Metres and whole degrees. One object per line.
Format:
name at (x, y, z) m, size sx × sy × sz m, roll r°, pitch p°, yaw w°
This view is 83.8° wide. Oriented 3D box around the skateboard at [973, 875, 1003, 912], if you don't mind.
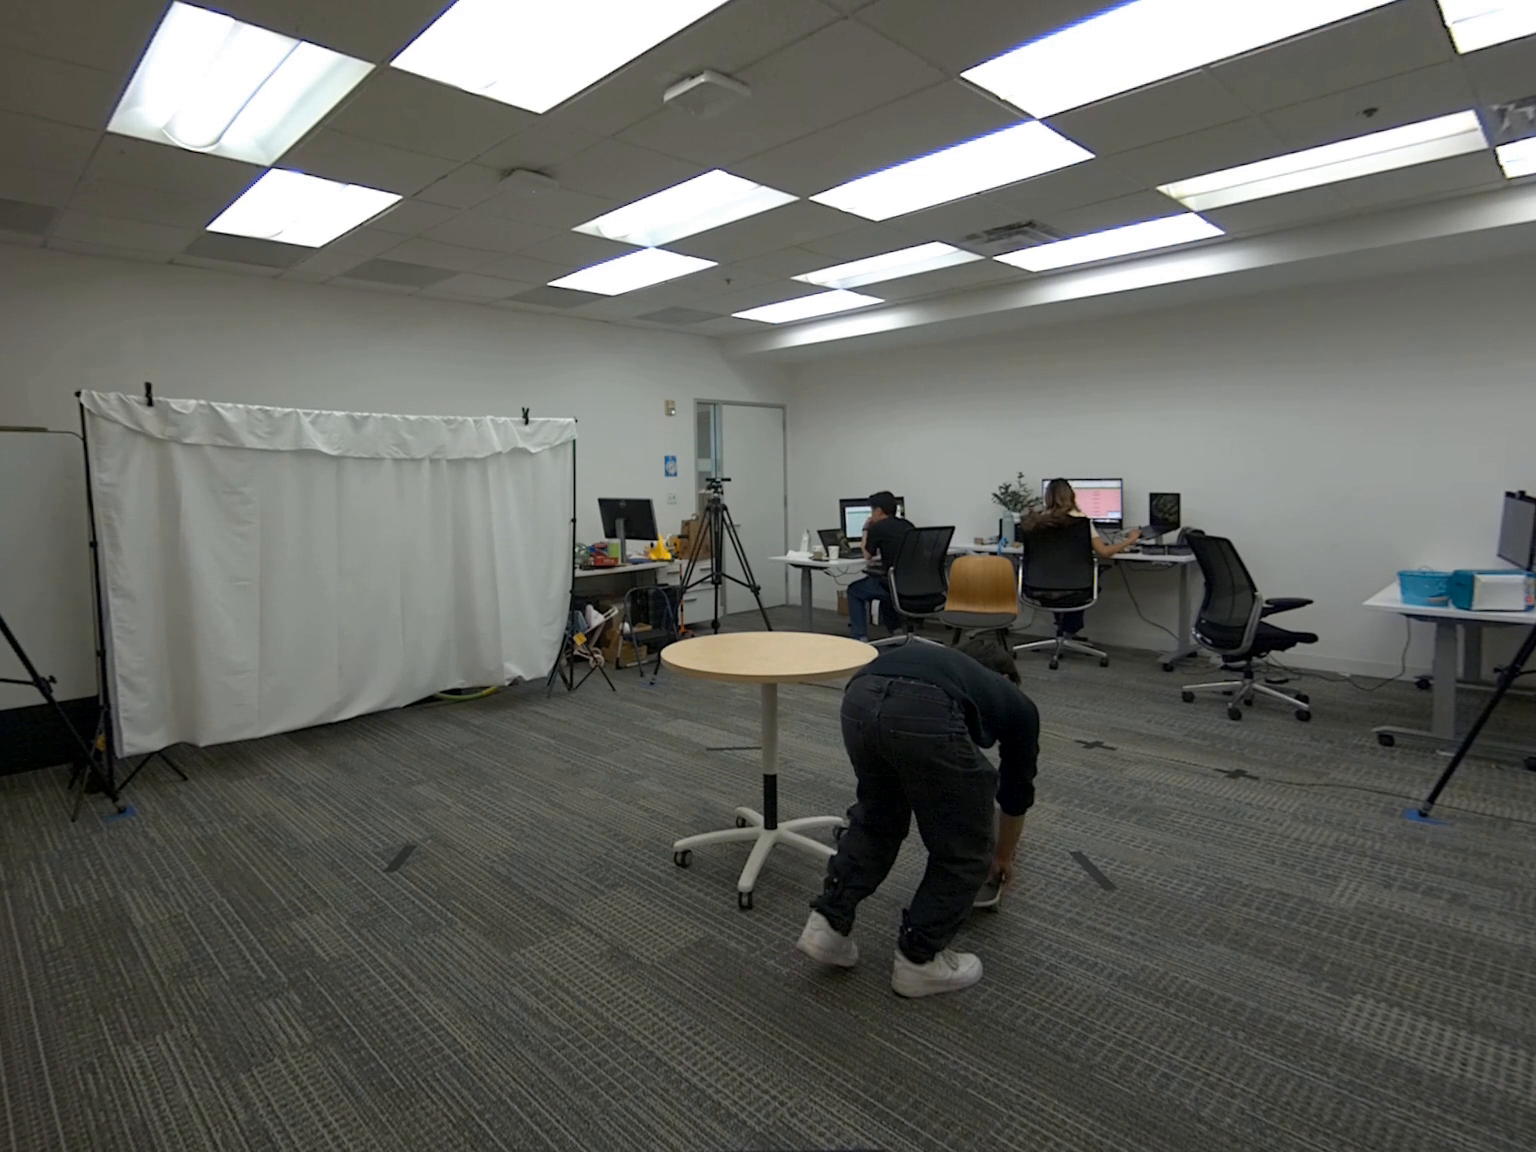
skateboard at (0.738, 0.988, 2.949) m, size 0.197 × 0.110 × 0.774 m, roll 1°, pitch 7°, yaw 20°
